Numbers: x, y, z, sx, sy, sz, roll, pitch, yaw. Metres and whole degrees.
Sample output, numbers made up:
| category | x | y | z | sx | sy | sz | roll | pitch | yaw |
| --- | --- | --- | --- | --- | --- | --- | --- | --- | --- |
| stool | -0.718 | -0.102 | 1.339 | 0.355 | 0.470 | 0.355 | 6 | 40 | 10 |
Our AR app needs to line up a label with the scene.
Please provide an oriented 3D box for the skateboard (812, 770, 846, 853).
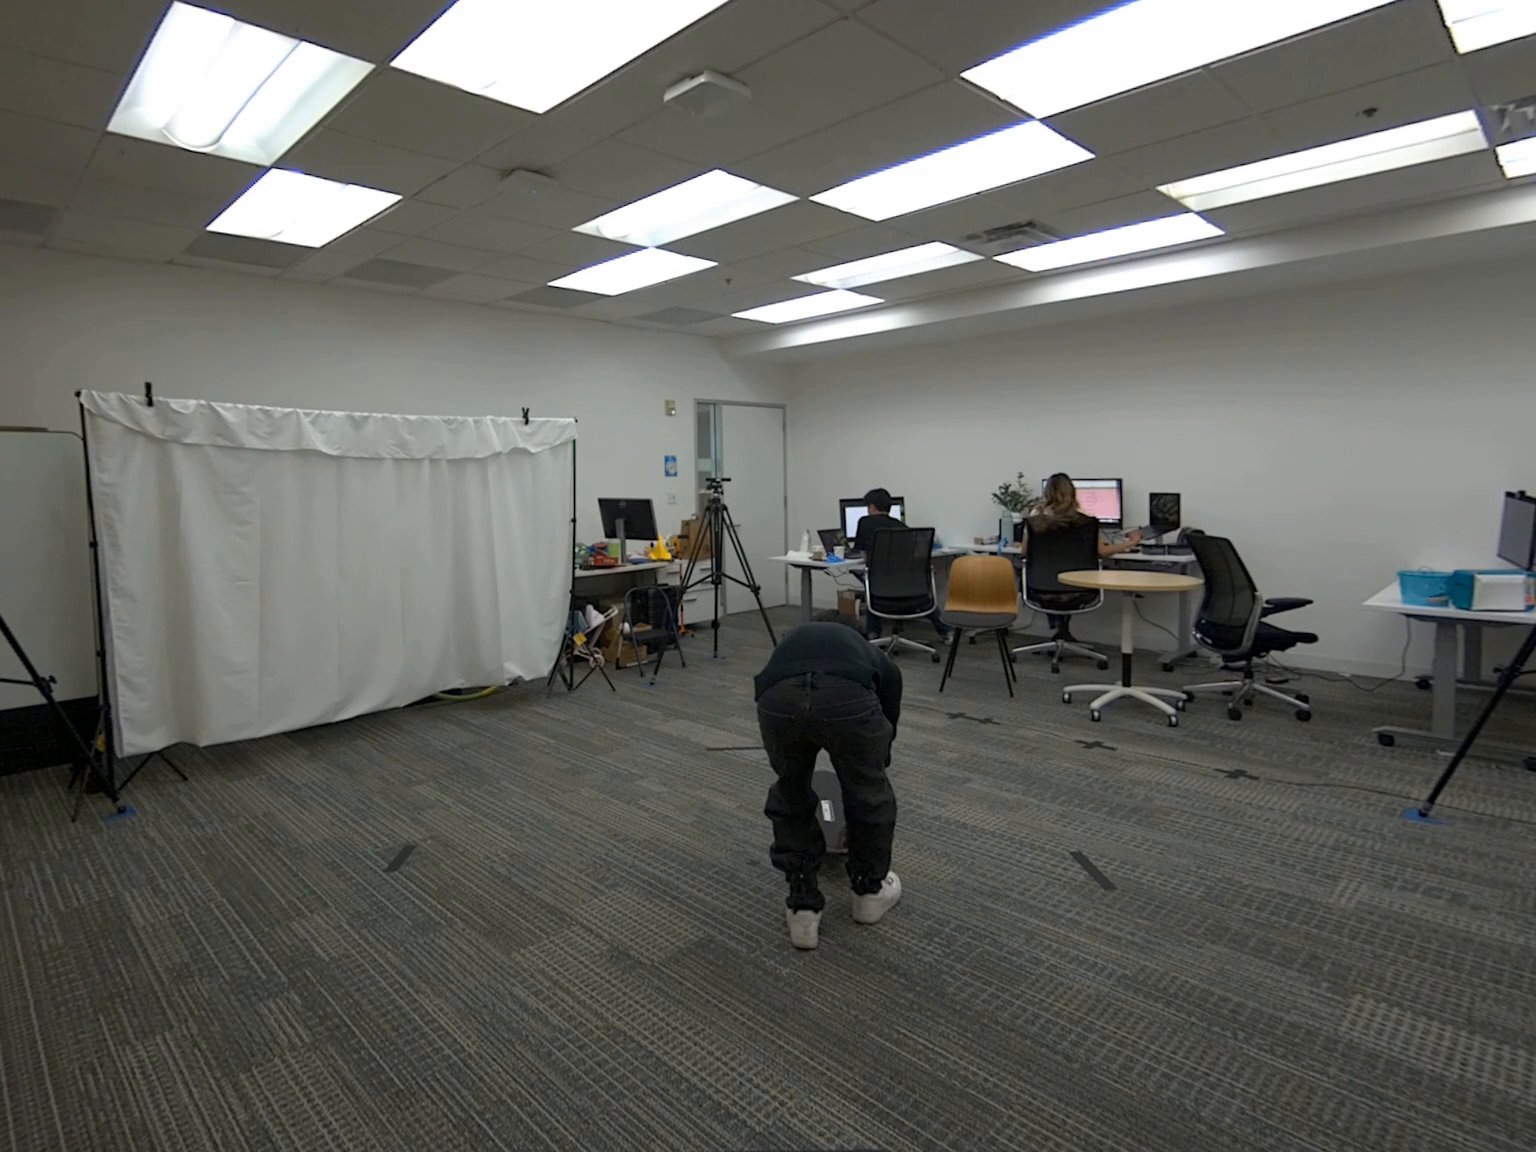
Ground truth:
| category | x | y | z | sx | sy | sz | roll | pitch | yaw |
| --- | --- | --- | --- | --- | --- | --- | --- | --- | --- |
| skateboard | 0.236 | 0.962 | 3.373 | 0.193 | 0.110 | 0.789 | 0 | 7 | -1 |
